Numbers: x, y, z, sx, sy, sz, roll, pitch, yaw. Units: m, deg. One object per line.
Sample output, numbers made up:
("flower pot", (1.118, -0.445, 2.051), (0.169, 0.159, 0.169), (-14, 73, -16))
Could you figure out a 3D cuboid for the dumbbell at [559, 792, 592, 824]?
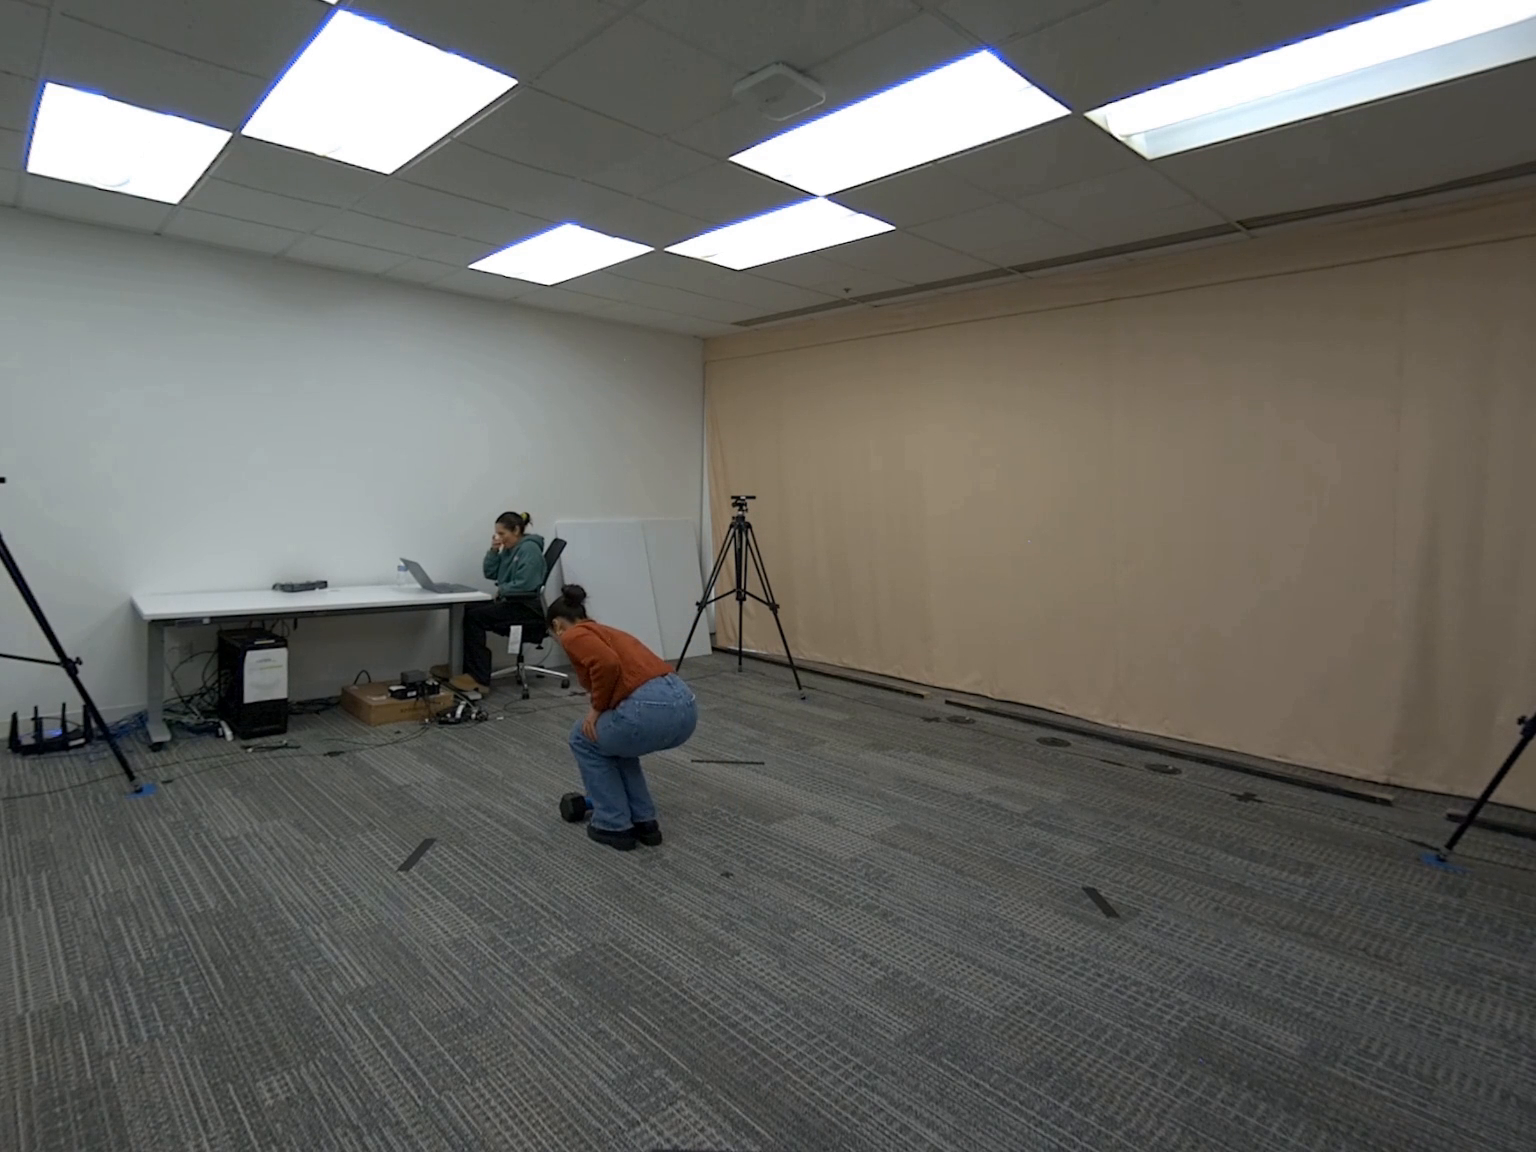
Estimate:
("dumbbell", (-0.766, 0.987, 3.669), (0.287, 0.122, 0.112), (-3, 37, -39))
